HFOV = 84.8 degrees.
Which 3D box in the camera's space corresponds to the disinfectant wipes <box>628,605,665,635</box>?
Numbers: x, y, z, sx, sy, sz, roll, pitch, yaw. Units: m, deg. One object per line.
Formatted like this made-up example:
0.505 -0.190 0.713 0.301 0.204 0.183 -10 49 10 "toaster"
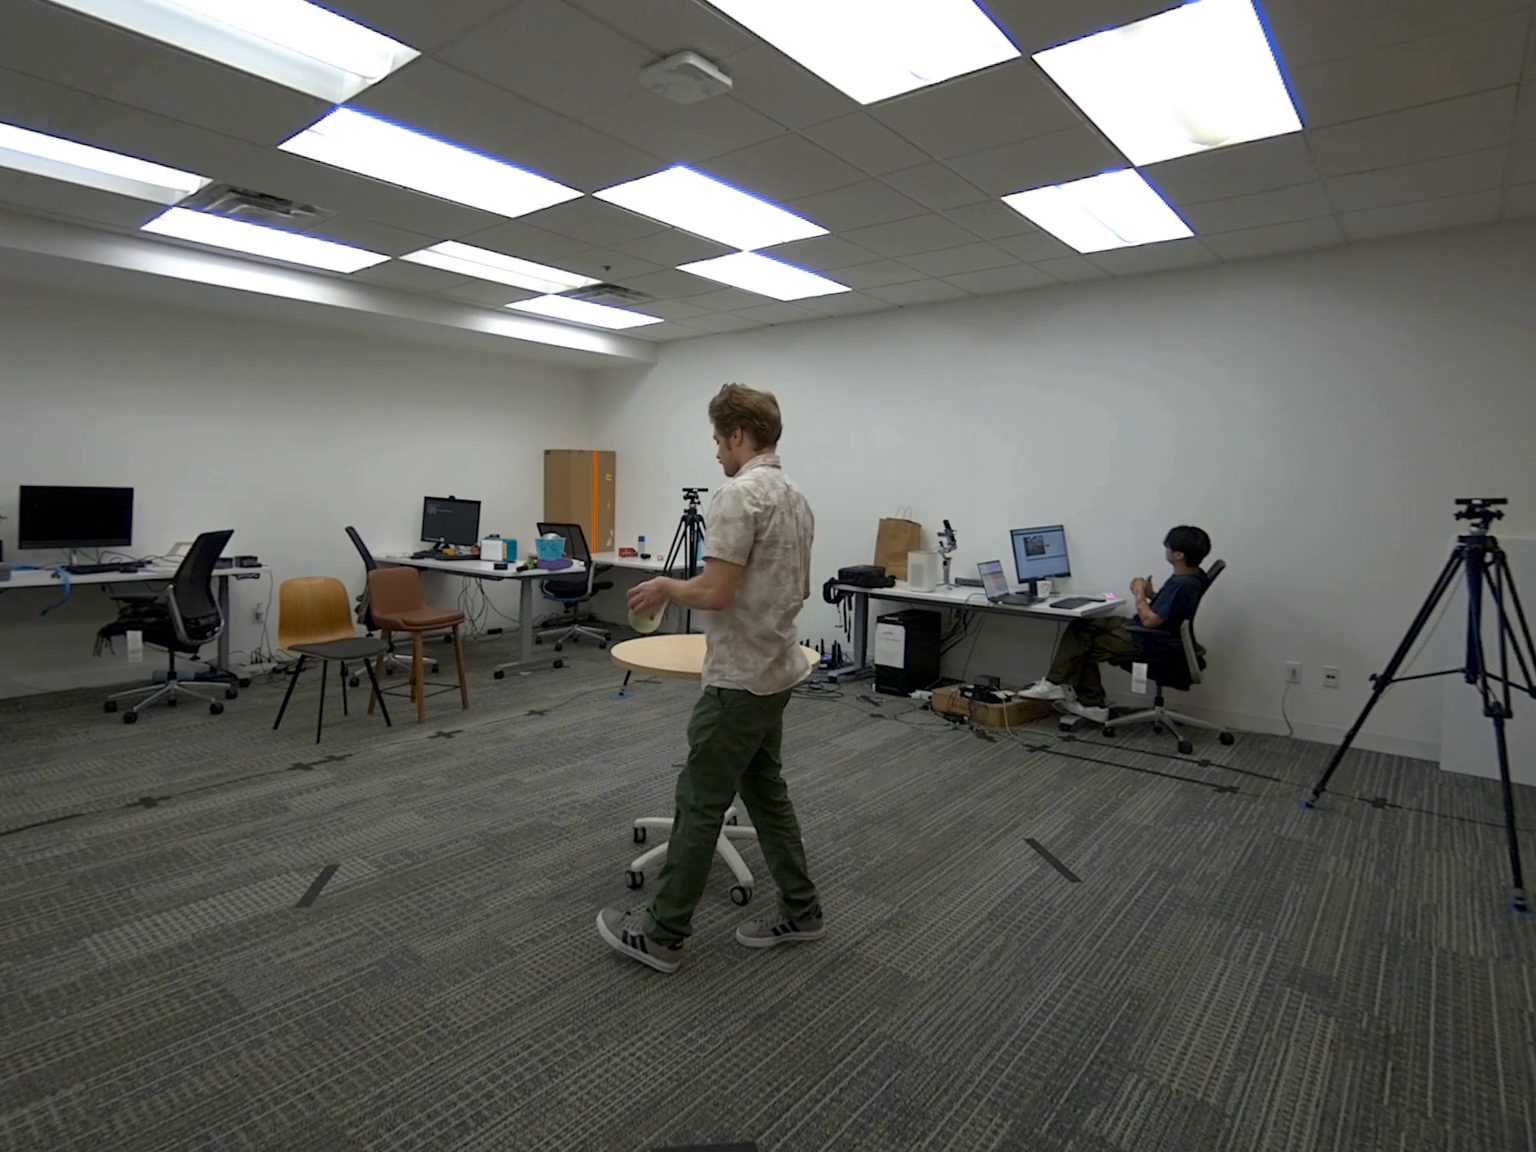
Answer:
-0.396 0.096 2.696 0.116 0.120 0.215 0 -21 -11 "disinfectant wipes"
